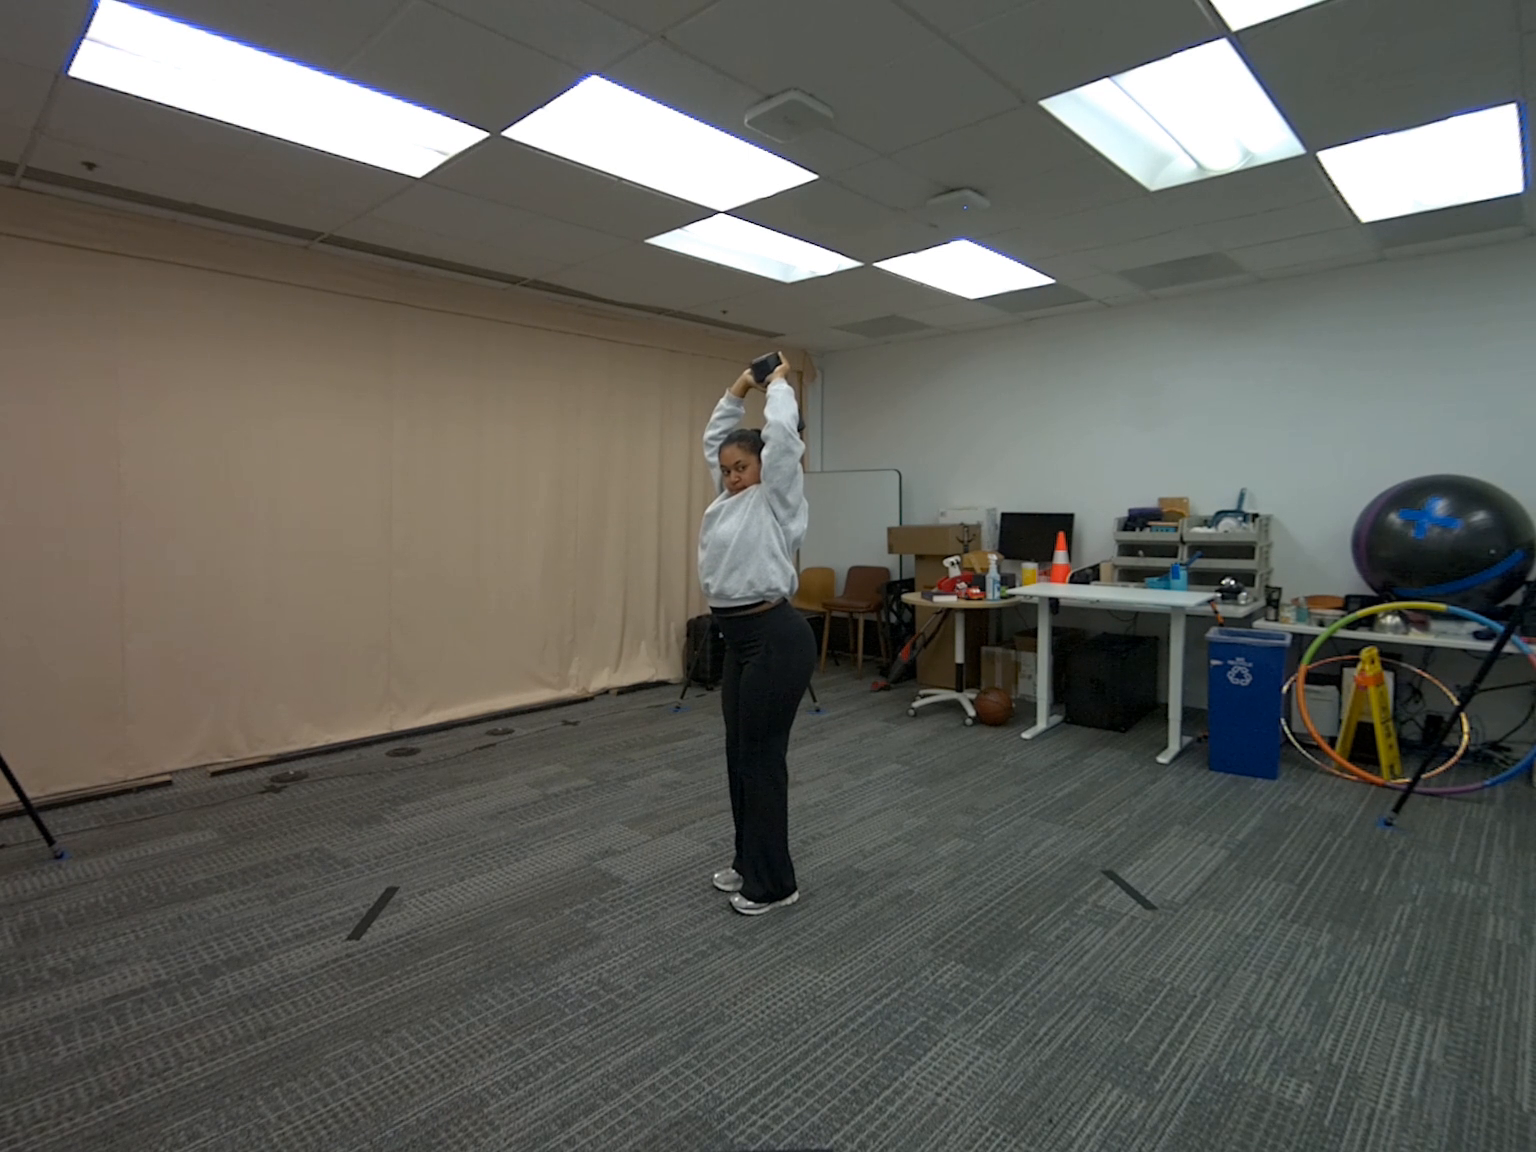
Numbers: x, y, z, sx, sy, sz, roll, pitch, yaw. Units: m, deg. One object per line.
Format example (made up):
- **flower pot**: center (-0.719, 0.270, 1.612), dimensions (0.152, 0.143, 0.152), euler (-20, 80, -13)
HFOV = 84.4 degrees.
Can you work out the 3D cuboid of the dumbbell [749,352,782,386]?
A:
- **dumbbell**: center (0.038, -0.639, 3.000), dimensions (0.125, 0.290, 0.108), euler (-15, 13, 25)
